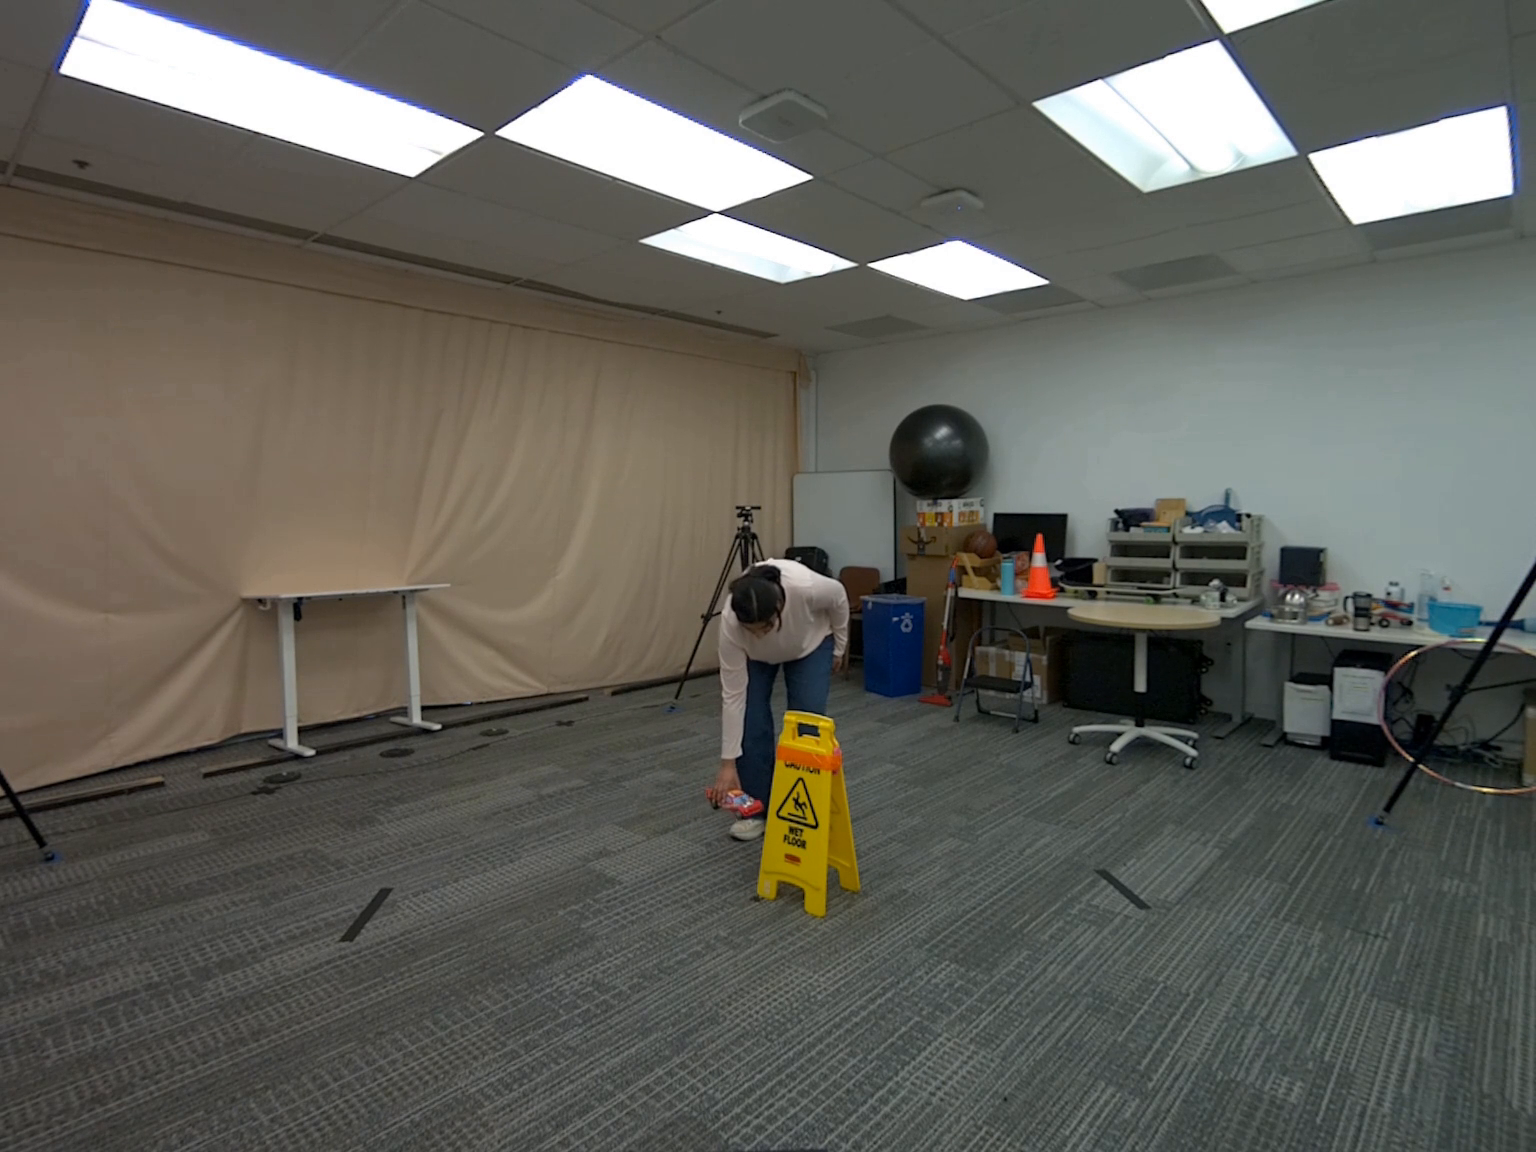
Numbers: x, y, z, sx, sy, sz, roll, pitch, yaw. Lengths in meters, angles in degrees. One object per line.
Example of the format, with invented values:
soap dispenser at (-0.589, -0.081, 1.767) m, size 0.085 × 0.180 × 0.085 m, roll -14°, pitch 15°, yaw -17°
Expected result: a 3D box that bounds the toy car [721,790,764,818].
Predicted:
toy car at (-0.138, 0.880, 3.288) m, size 0.126 × 0.082 × 0.264 m, roll -8°, pitch 18°, yaw -40°
